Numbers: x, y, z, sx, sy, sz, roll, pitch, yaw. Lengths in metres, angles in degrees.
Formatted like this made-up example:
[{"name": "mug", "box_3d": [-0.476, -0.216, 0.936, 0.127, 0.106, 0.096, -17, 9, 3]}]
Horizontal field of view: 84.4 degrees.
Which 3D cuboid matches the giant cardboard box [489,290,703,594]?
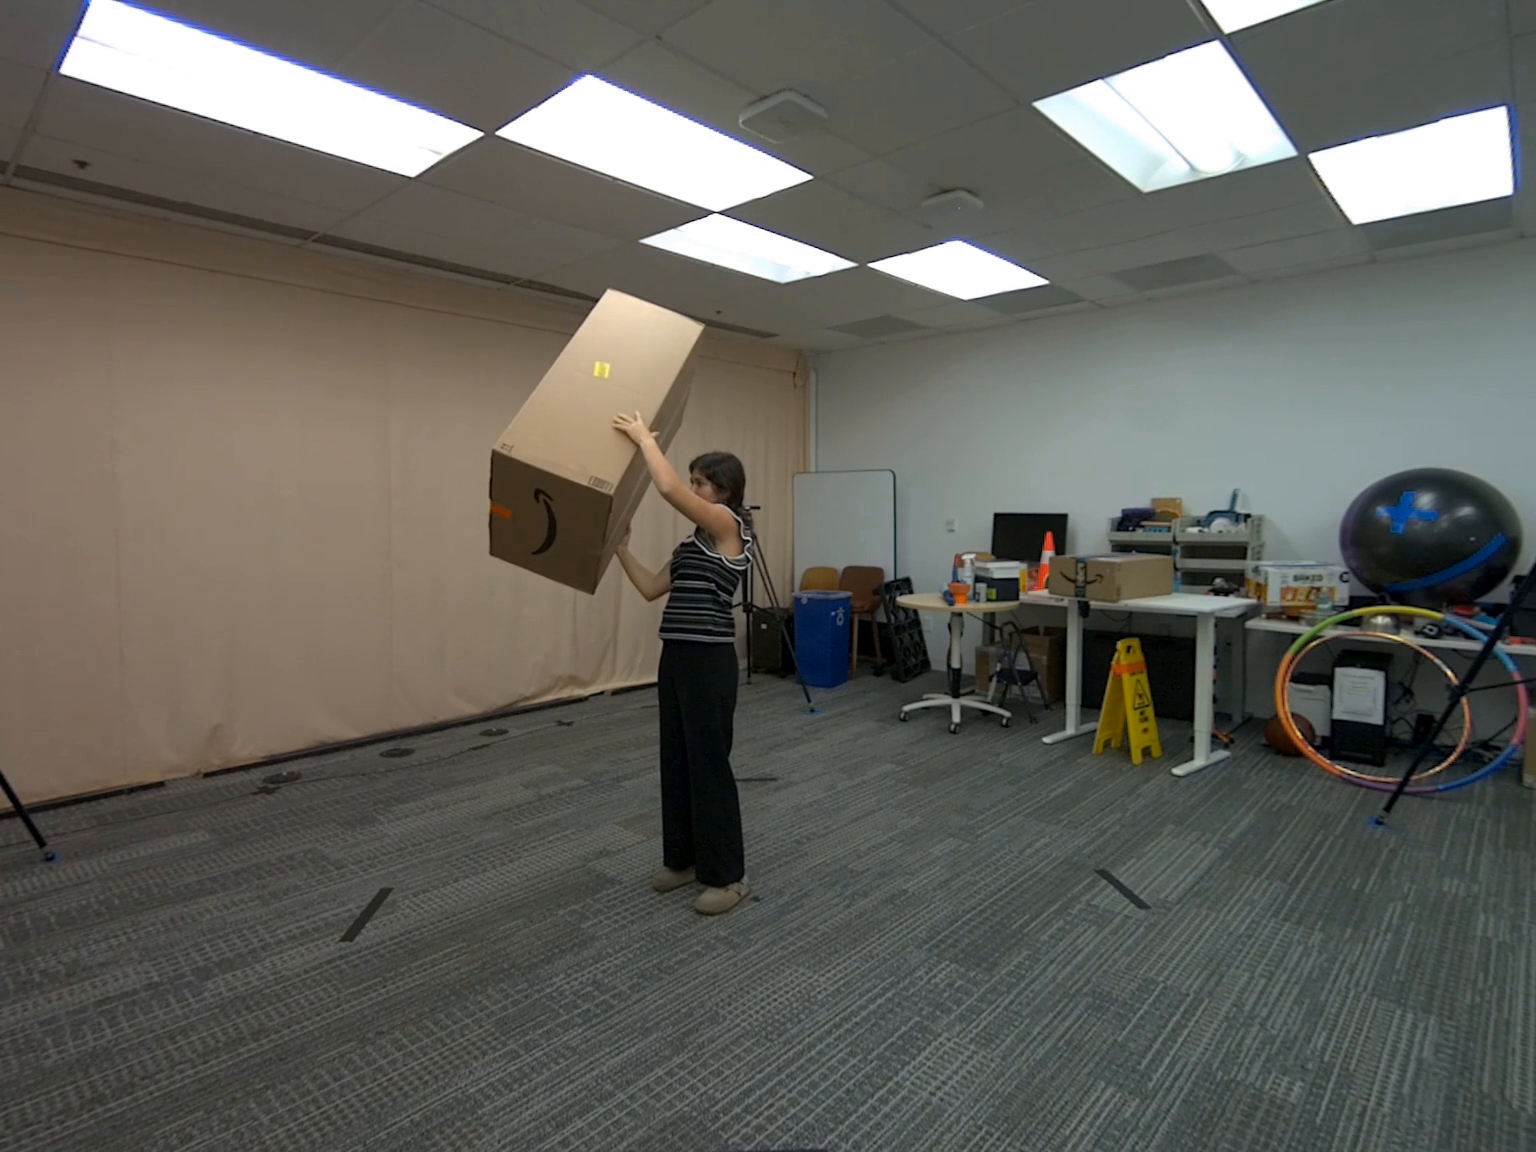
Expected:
[{"name": "giant cardboard box", "box_3d": [-0.641, -0.537, 3.250, 0.426, 1.032, 0.574, 21, -39, -2]}]
